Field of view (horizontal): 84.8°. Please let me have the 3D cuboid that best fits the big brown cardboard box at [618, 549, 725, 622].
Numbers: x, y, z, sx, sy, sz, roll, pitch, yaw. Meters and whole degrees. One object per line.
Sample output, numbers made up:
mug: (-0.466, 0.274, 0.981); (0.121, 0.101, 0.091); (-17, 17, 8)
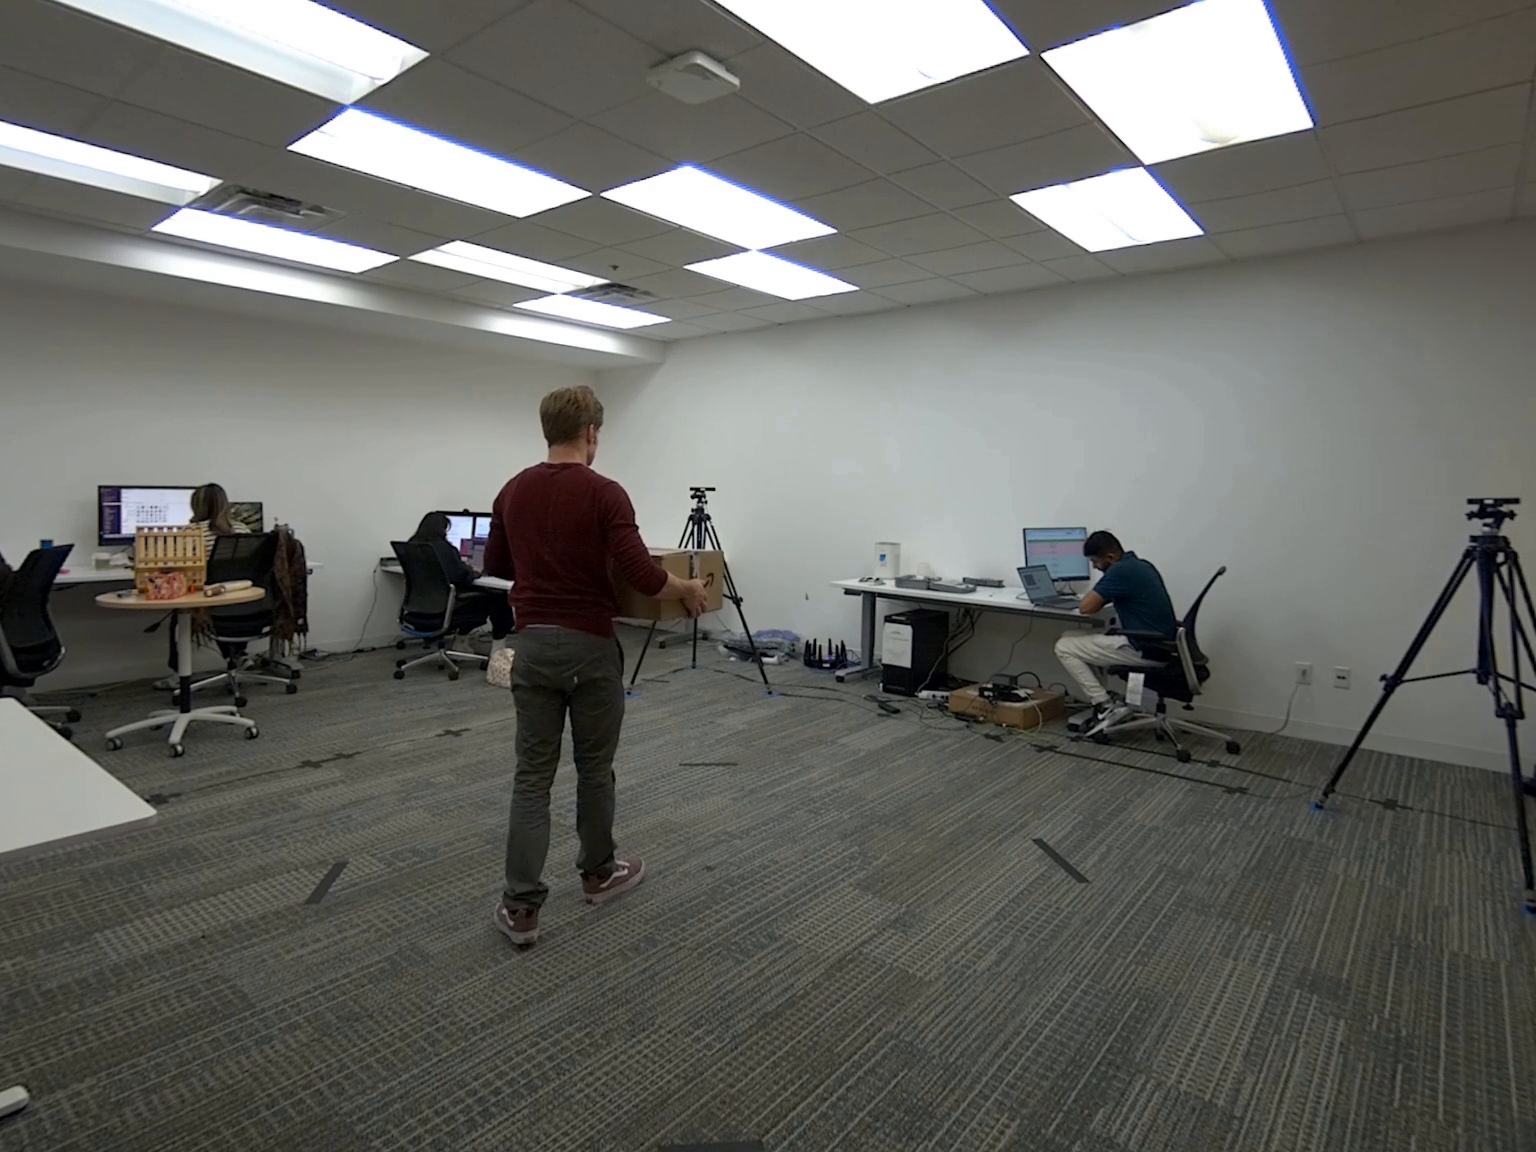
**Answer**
big brown cardboard box: (-0.512, 0.007, 3.045); (0.605, 0.232, 0.408); (4, 5, 27)
